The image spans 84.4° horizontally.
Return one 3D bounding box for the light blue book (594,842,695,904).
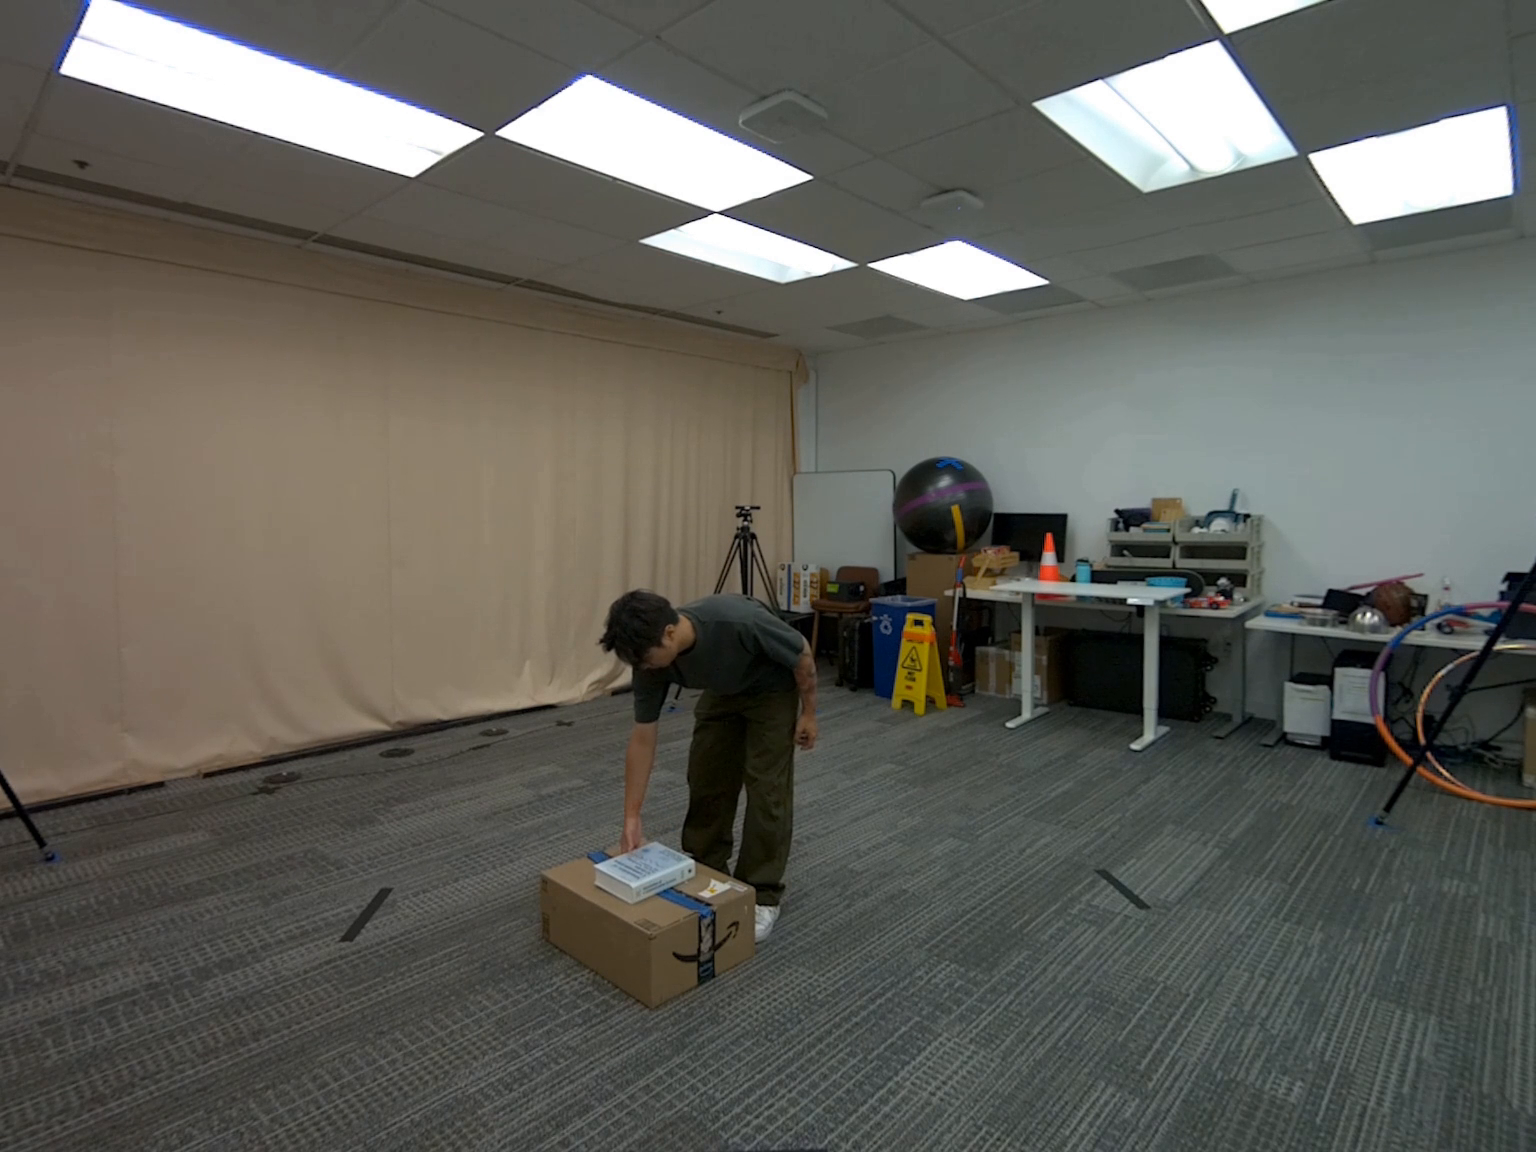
[{"bbox_3d":[-0.391,0.931,2.645,0.198,0.059,0.253,6,7,42],"label":"light blue book"}]
